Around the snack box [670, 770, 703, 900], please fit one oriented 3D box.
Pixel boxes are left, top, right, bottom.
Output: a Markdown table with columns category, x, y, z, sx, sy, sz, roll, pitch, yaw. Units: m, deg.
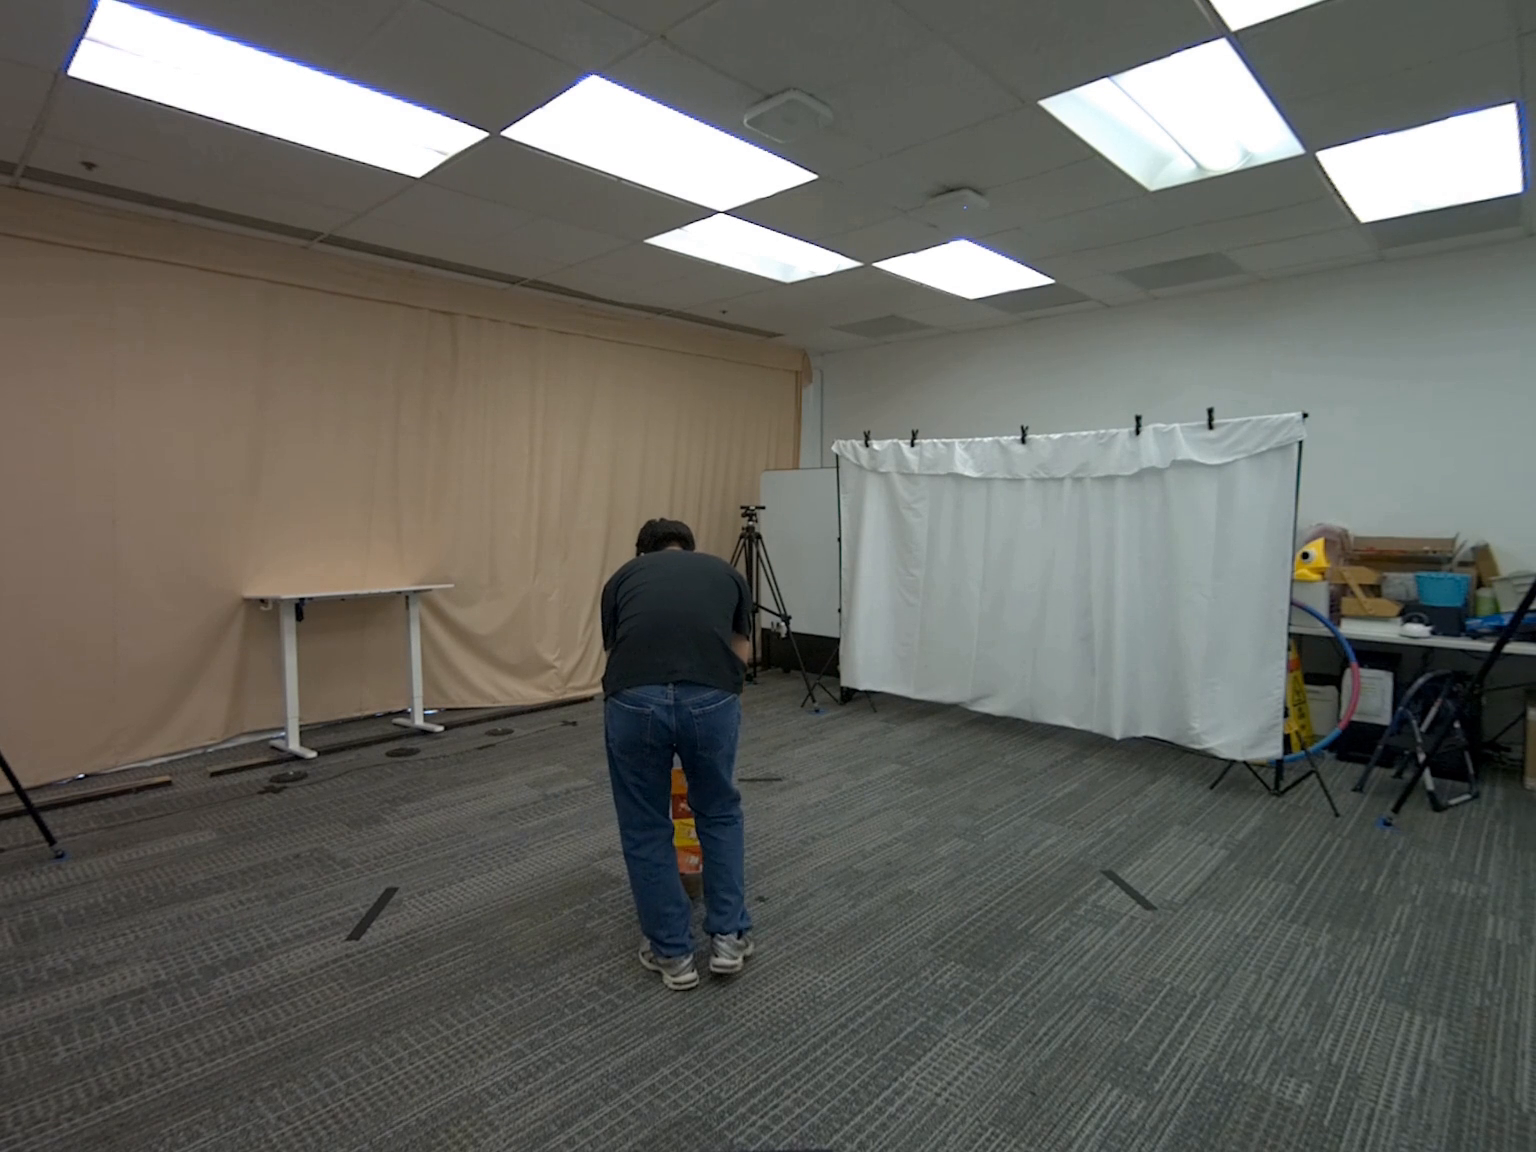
| category | x | y | z | sx | sy | sz | roll | pitch | yaw |
| --- | --- | --- | --- | --- | --- | --- | --- | --- | --- |
| snack box | -0.324 | 0.897 | 2.917 | 0.204 | 0.347 | 0.400 | -1 | -30 | -7 |
